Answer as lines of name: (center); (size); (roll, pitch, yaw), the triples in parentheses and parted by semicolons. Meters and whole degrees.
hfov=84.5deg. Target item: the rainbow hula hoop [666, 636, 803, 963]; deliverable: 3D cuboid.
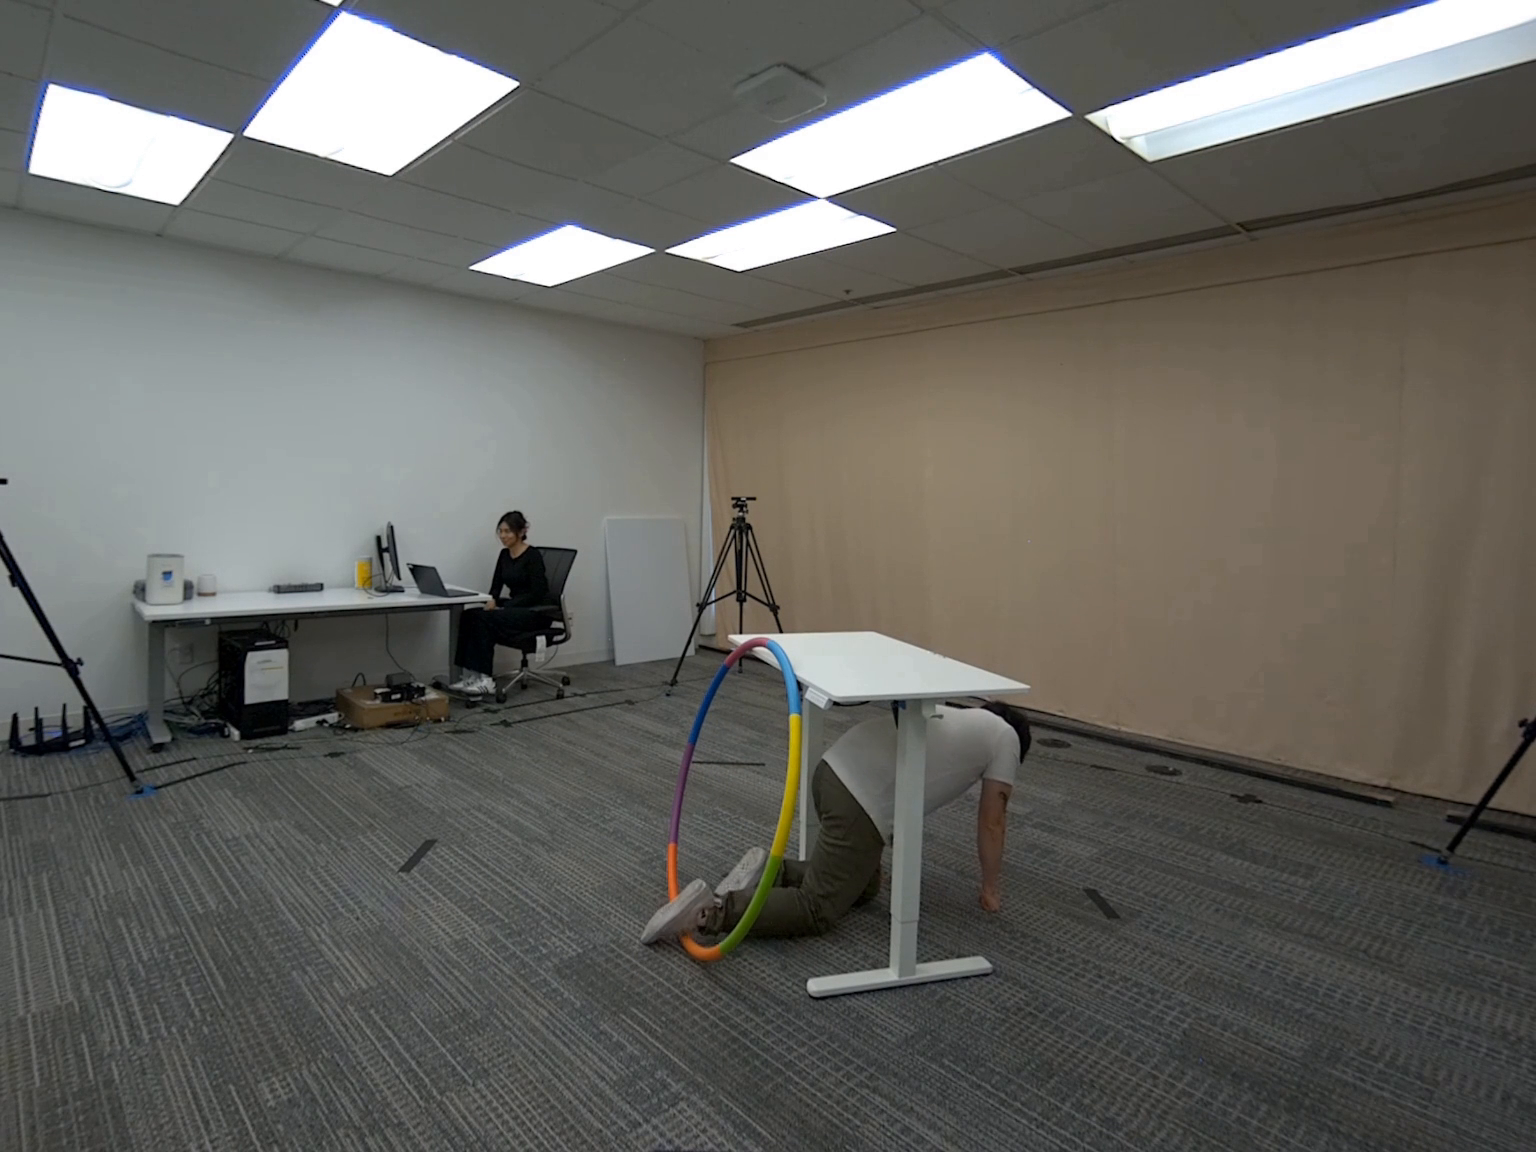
rainbow hula hoop: (-0.134, 0.677, 2.662); (0.035, 0.979, 0.994); (17, -1, -19)
